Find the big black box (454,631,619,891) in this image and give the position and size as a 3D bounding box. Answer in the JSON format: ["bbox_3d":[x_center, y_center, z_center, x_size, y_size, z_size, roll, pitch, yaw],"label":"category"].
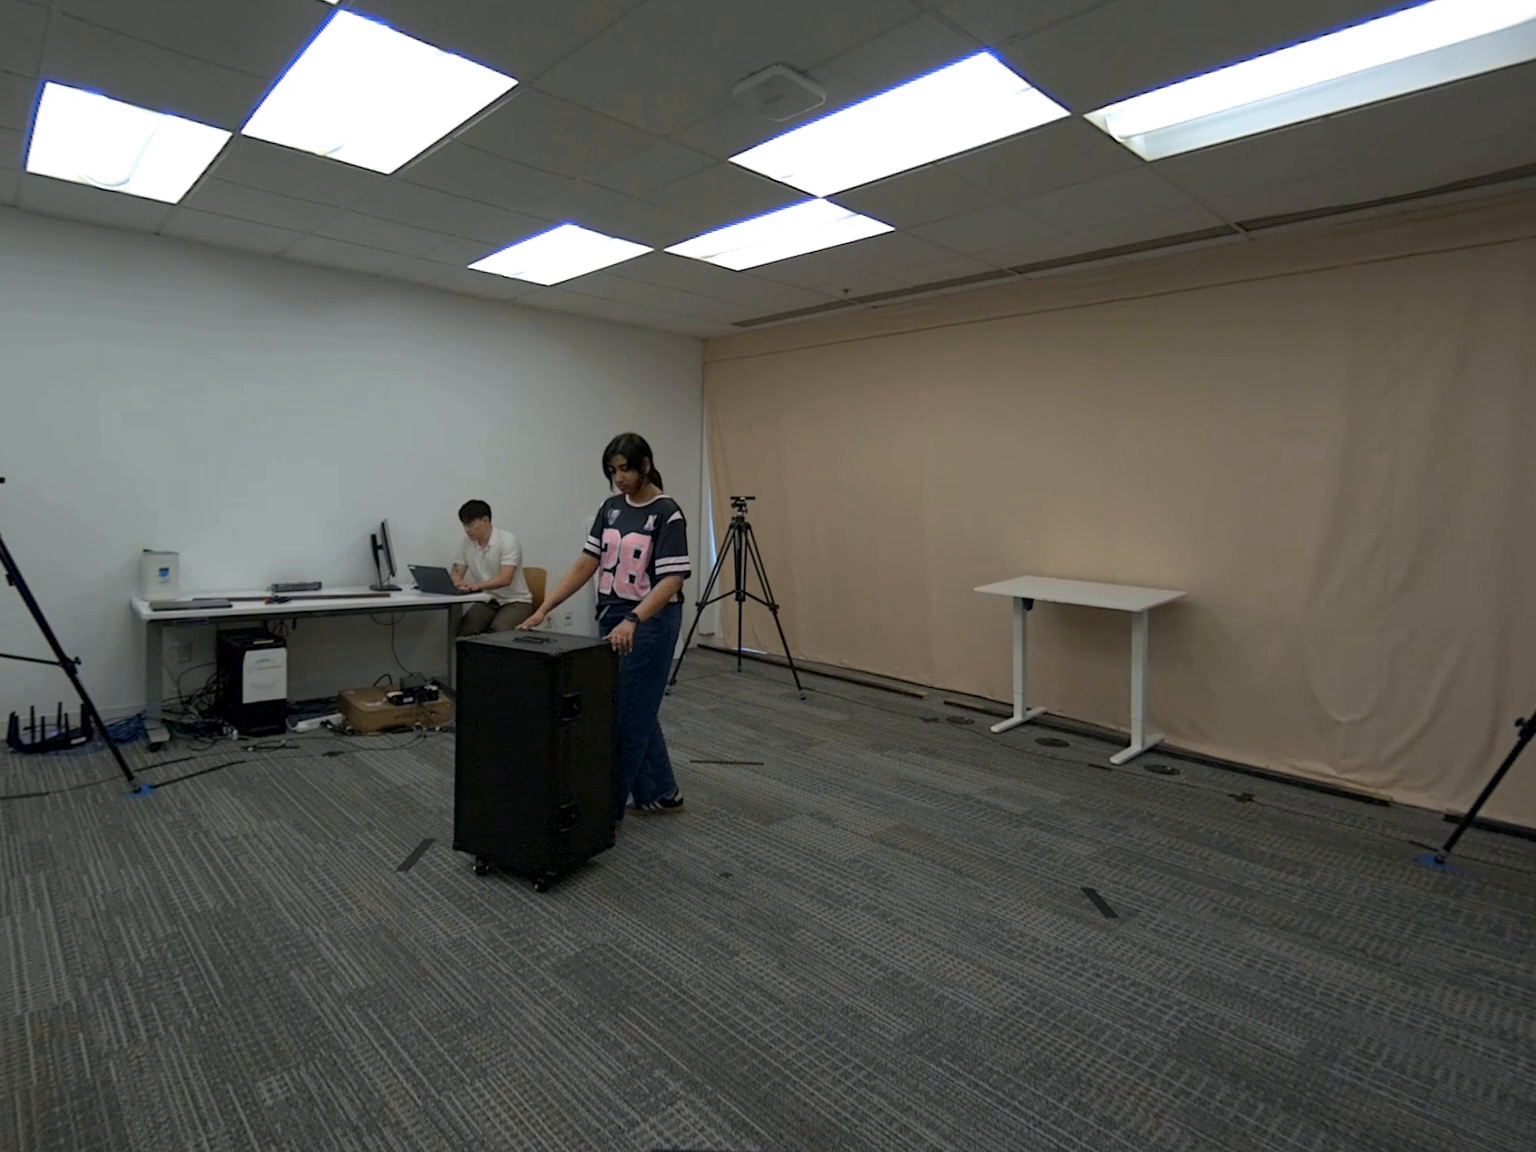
[{"bbox_3d":[-0.875,0.663,3.130,0.534,0.866,0.378,4,4,28],"label":"big black box"}]
